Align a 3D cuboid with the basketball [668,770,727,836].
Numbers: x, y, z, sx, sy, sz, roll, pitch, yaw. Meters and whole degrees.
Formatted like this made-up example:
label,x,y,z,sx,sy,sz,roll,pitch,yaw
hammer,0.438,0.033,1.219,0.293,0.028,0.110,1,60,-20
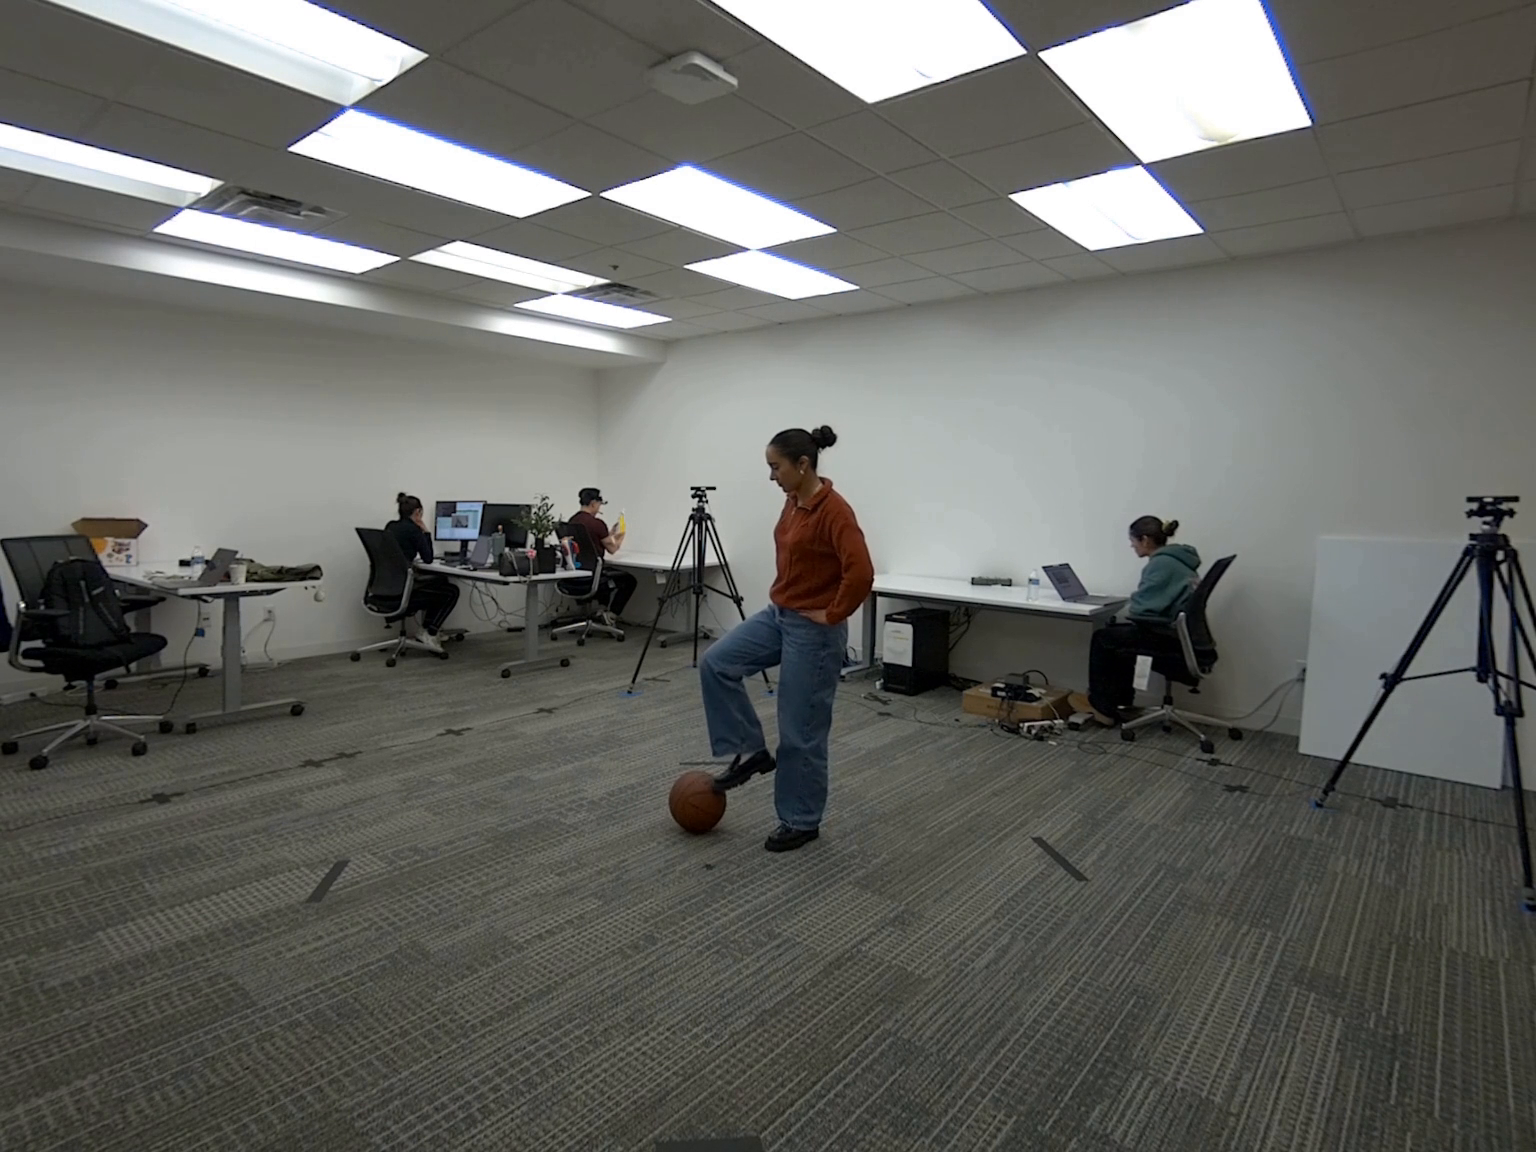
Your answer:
label,x,y,z,sx,sy,sz,roll,pitch,yaw
basketball,-0.305,0.908,3.463,0.235,0.235,0.237,1,4,-2
